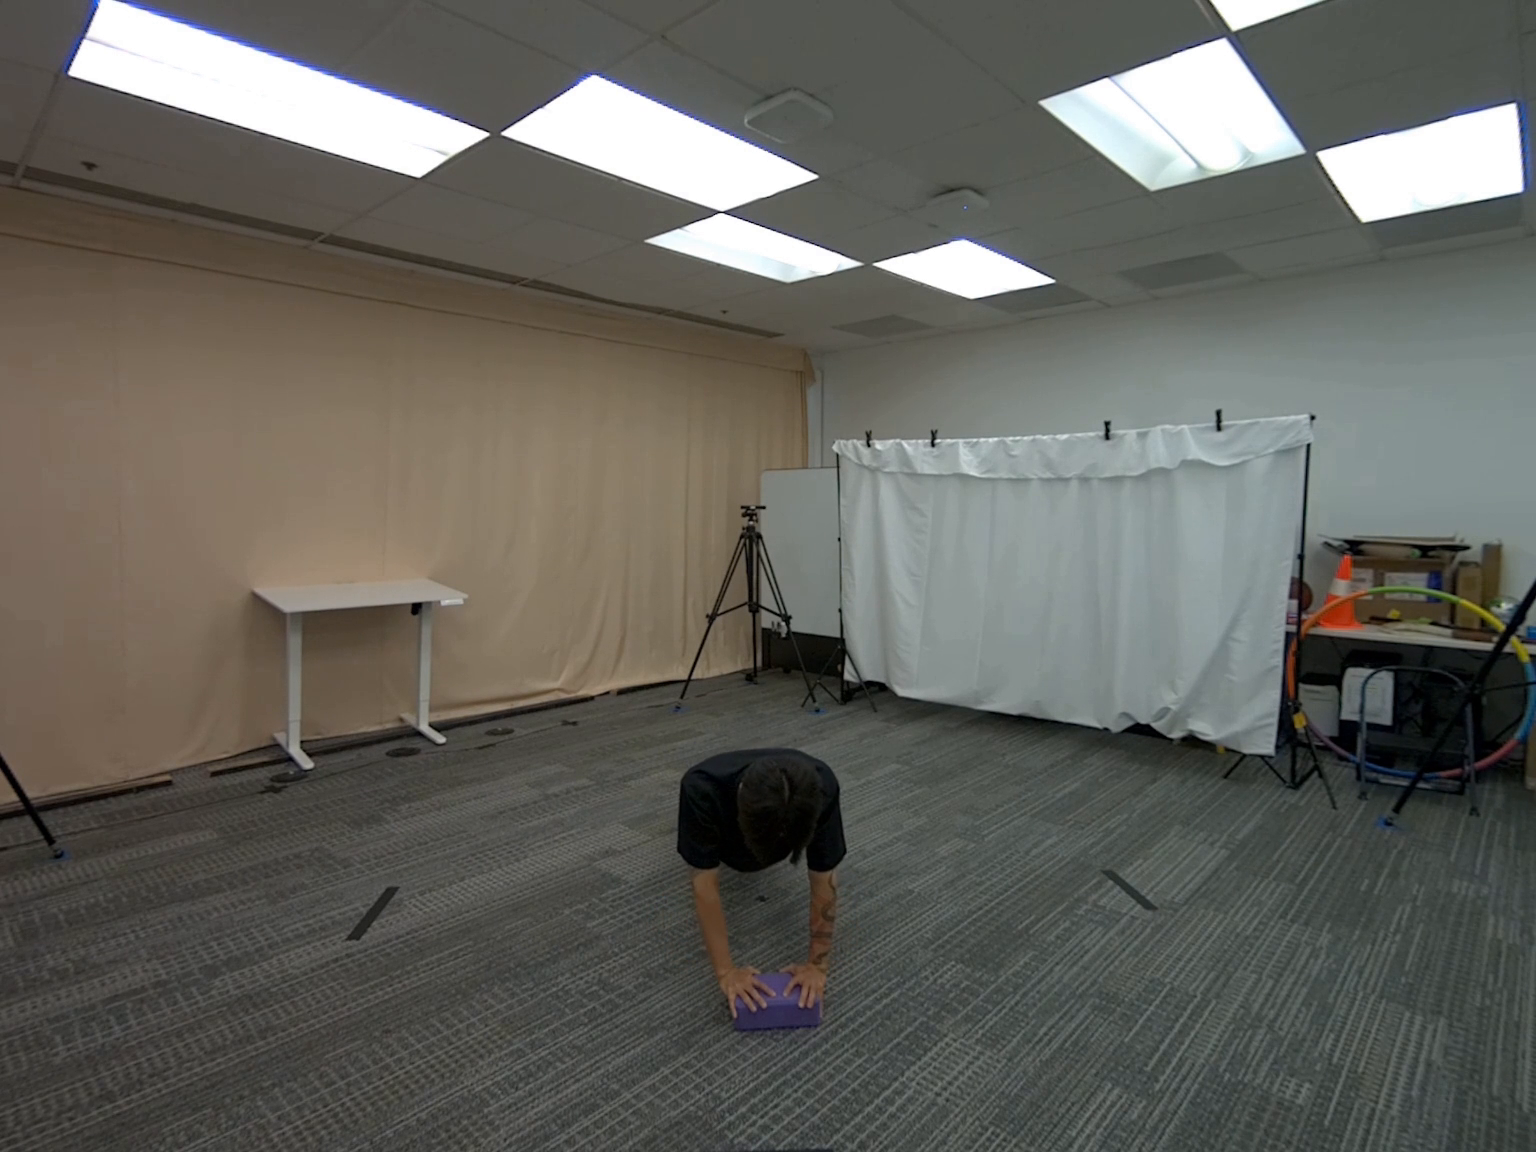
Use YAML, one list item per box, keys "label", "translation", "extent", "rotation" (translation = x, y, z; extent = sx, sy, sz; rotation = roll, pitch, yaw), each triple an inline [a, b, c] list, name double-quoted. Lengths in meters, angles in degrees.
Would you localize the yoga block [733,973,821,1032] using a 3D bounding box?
- label: "yoga block"
  translation: [0.016, 1.158, 2.308]
  extent: [0.227, 0.076, 0.151]
  rotation: [0, 5, -8]
